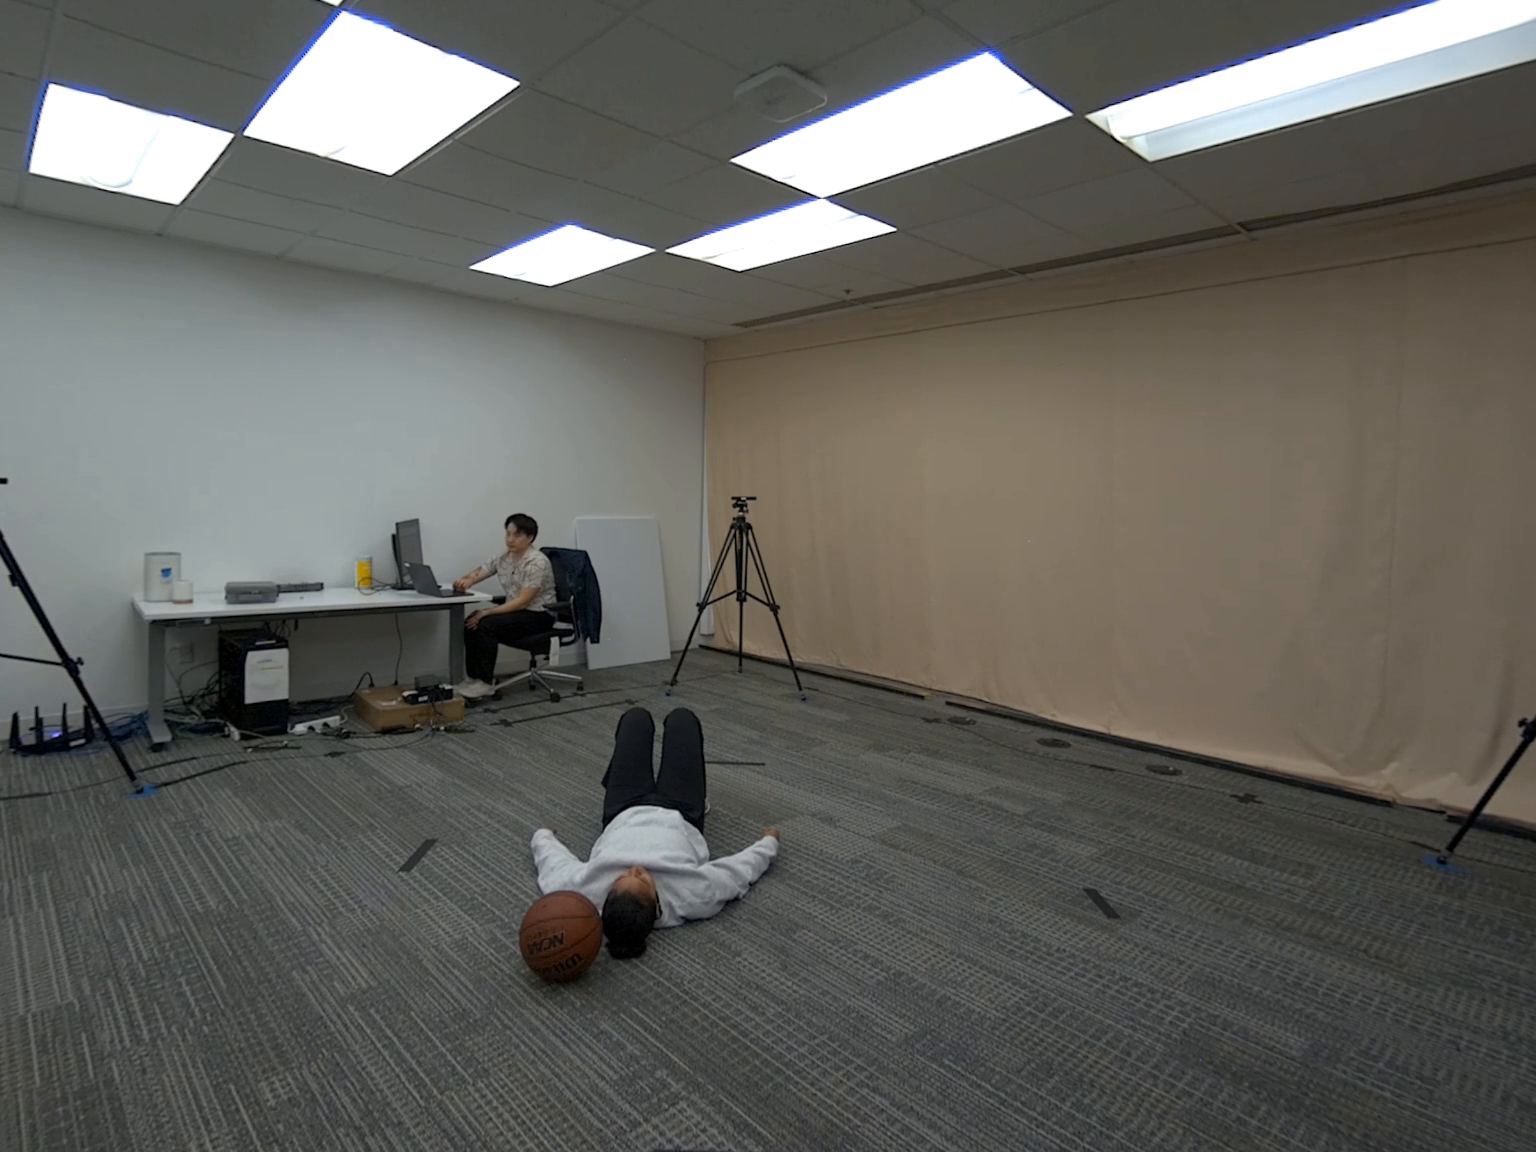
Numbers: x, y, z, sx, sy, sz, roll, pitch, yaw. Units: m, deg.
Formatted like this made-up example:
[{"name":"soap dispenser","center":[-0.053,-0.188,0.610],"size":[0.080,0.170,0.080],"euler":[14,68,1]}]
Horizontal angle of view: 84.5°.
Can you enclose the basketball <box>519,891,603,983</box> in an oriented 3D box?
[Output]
[{"name":"basketball","center":[-0.602,1.035,2.432],"size":[0.236,0.235,0.237],"euler":[1,4,-1]}]
